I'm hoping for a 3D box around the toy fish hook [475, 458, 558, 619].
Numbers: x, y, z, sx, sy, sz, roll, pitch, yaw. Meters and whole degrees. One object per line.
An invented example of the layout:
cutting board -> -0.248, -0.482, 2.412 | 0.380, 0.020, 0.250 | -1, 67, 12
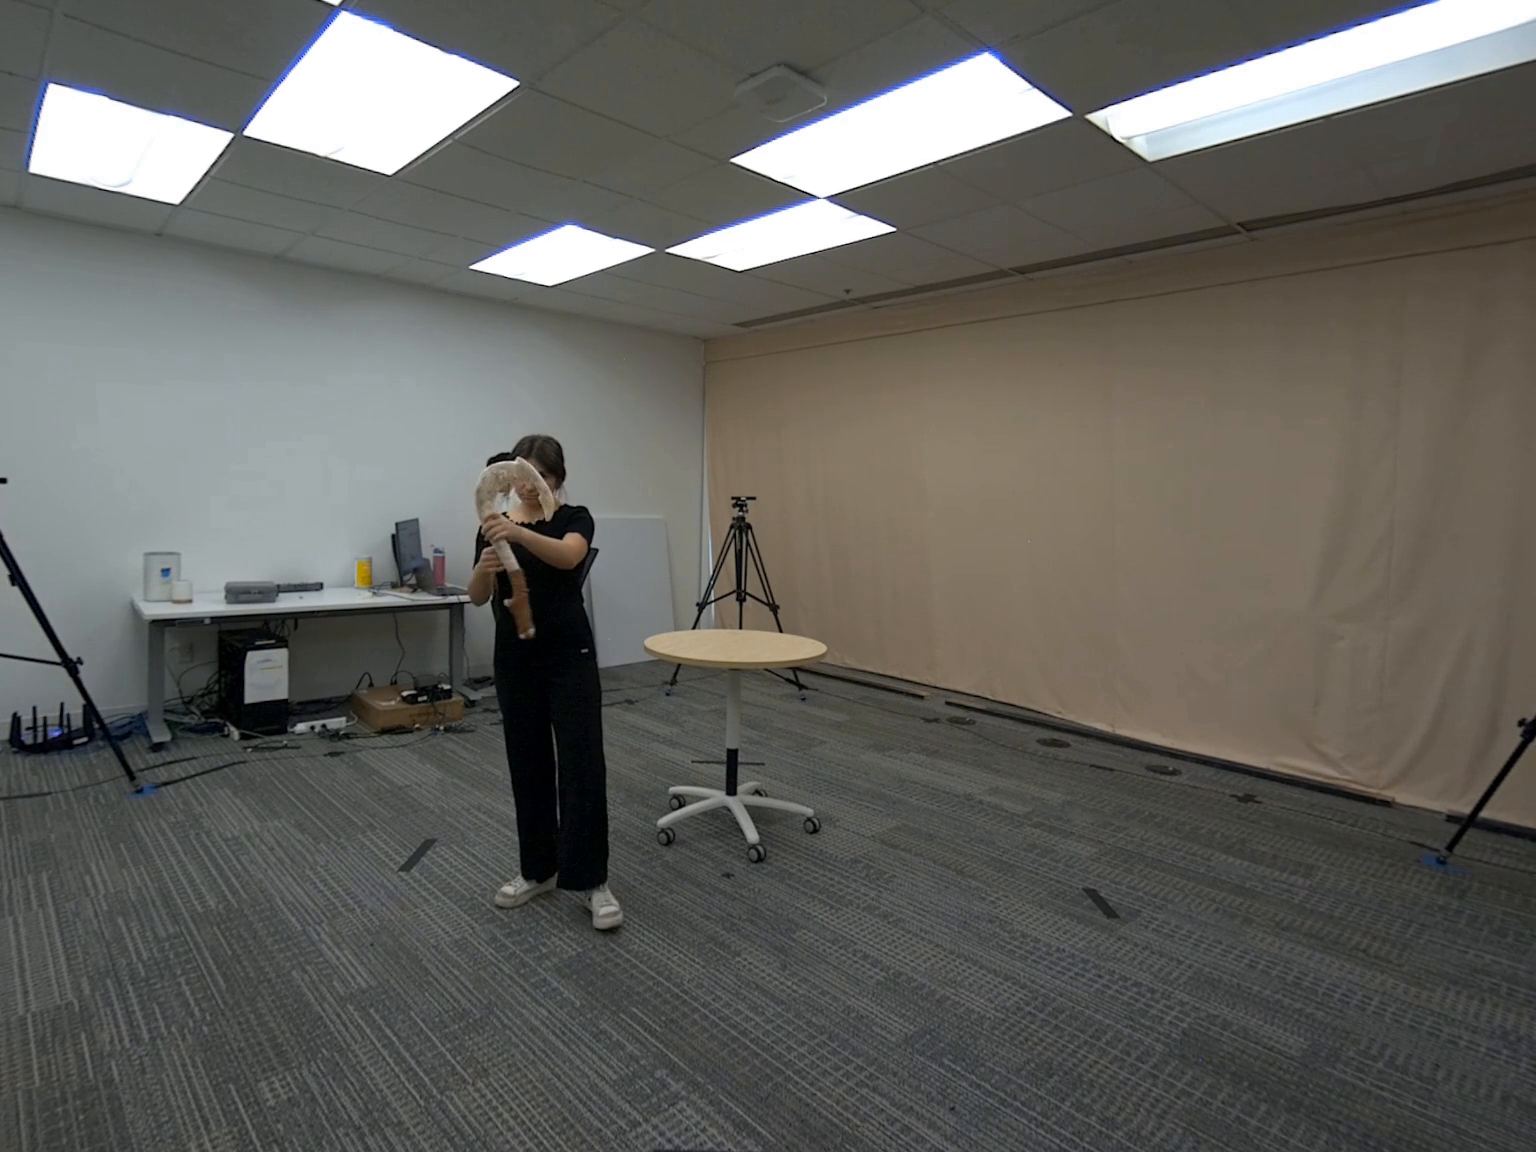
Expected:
toy fish hook -> -0.701, -0.073, 2.377 | 0.226, 0.507, 0.048 | -12, 0, 14
